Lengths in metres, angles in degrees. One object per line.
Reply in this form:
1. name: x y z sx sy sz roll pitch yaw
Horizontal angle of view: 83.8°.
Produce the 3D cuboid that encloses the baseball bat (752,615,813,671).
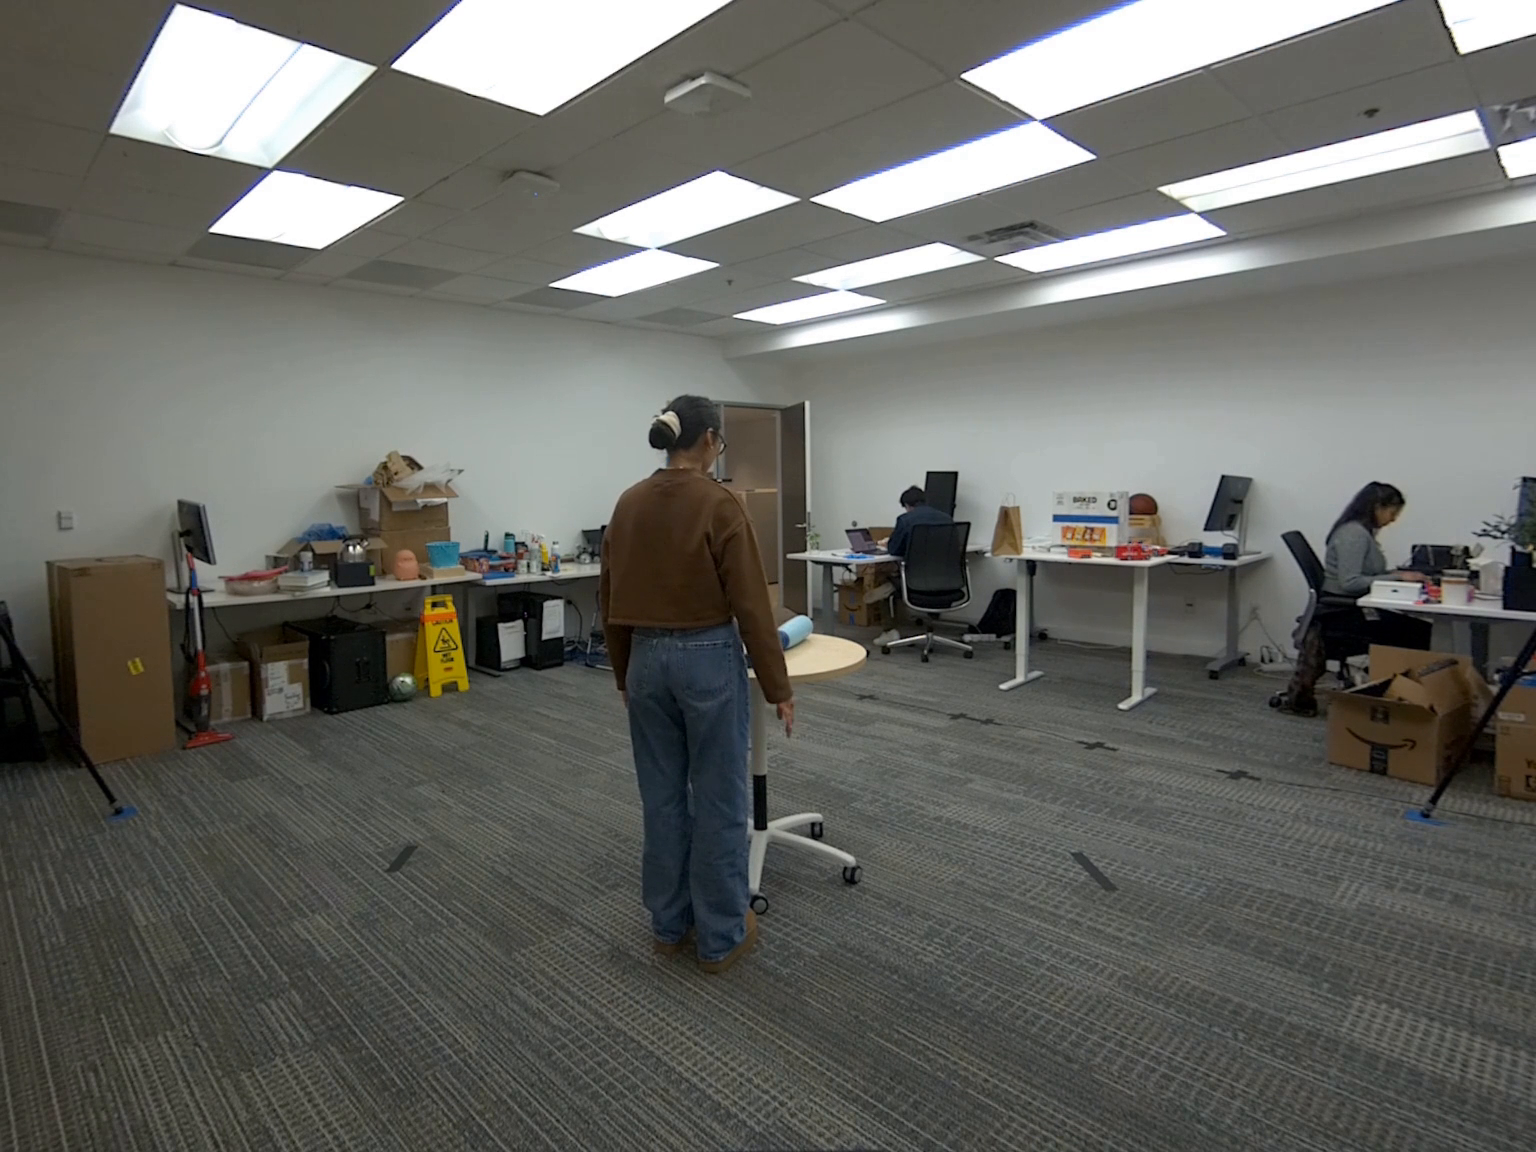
1. baseball bat: 0.039 0.238 3.013 0.091 0.088 0.536 1 10 20
